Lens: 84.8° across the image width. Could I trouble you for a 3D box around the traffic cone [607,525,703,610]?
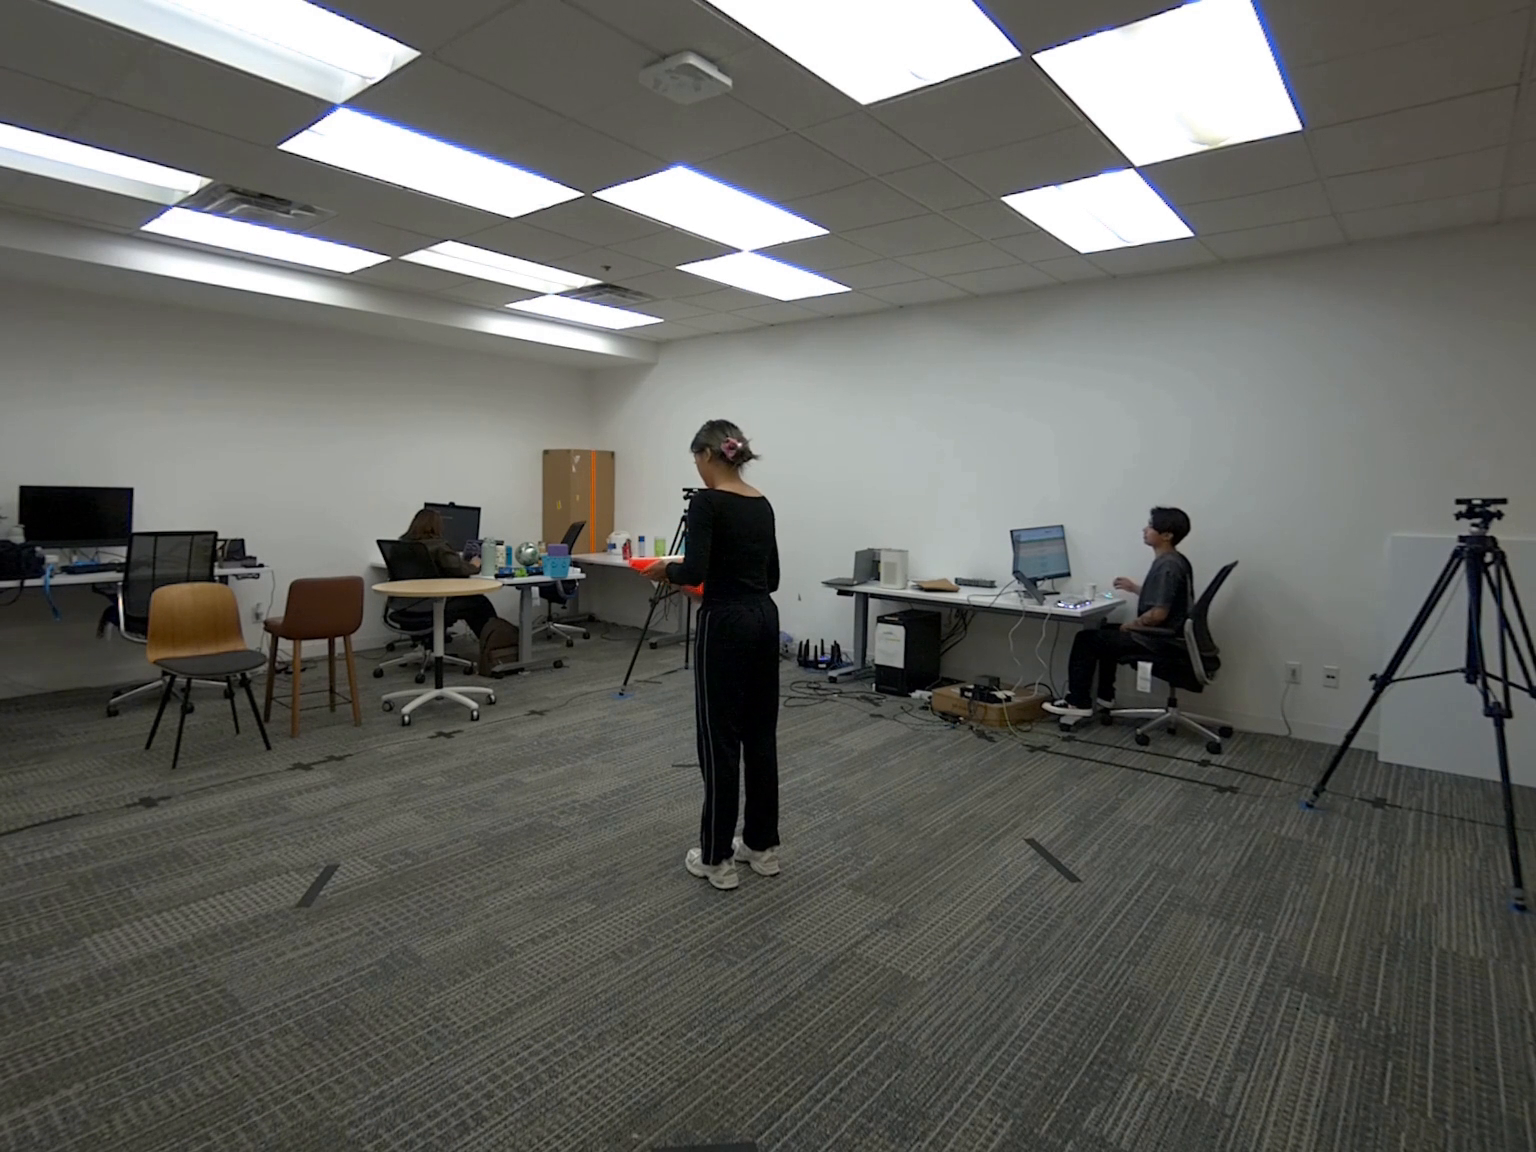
[{"bbox_3d":[-0.363,-0.028,3.145,0.370,0.211,0.204,6,-45,-43],"label":"traffic cone"}]
